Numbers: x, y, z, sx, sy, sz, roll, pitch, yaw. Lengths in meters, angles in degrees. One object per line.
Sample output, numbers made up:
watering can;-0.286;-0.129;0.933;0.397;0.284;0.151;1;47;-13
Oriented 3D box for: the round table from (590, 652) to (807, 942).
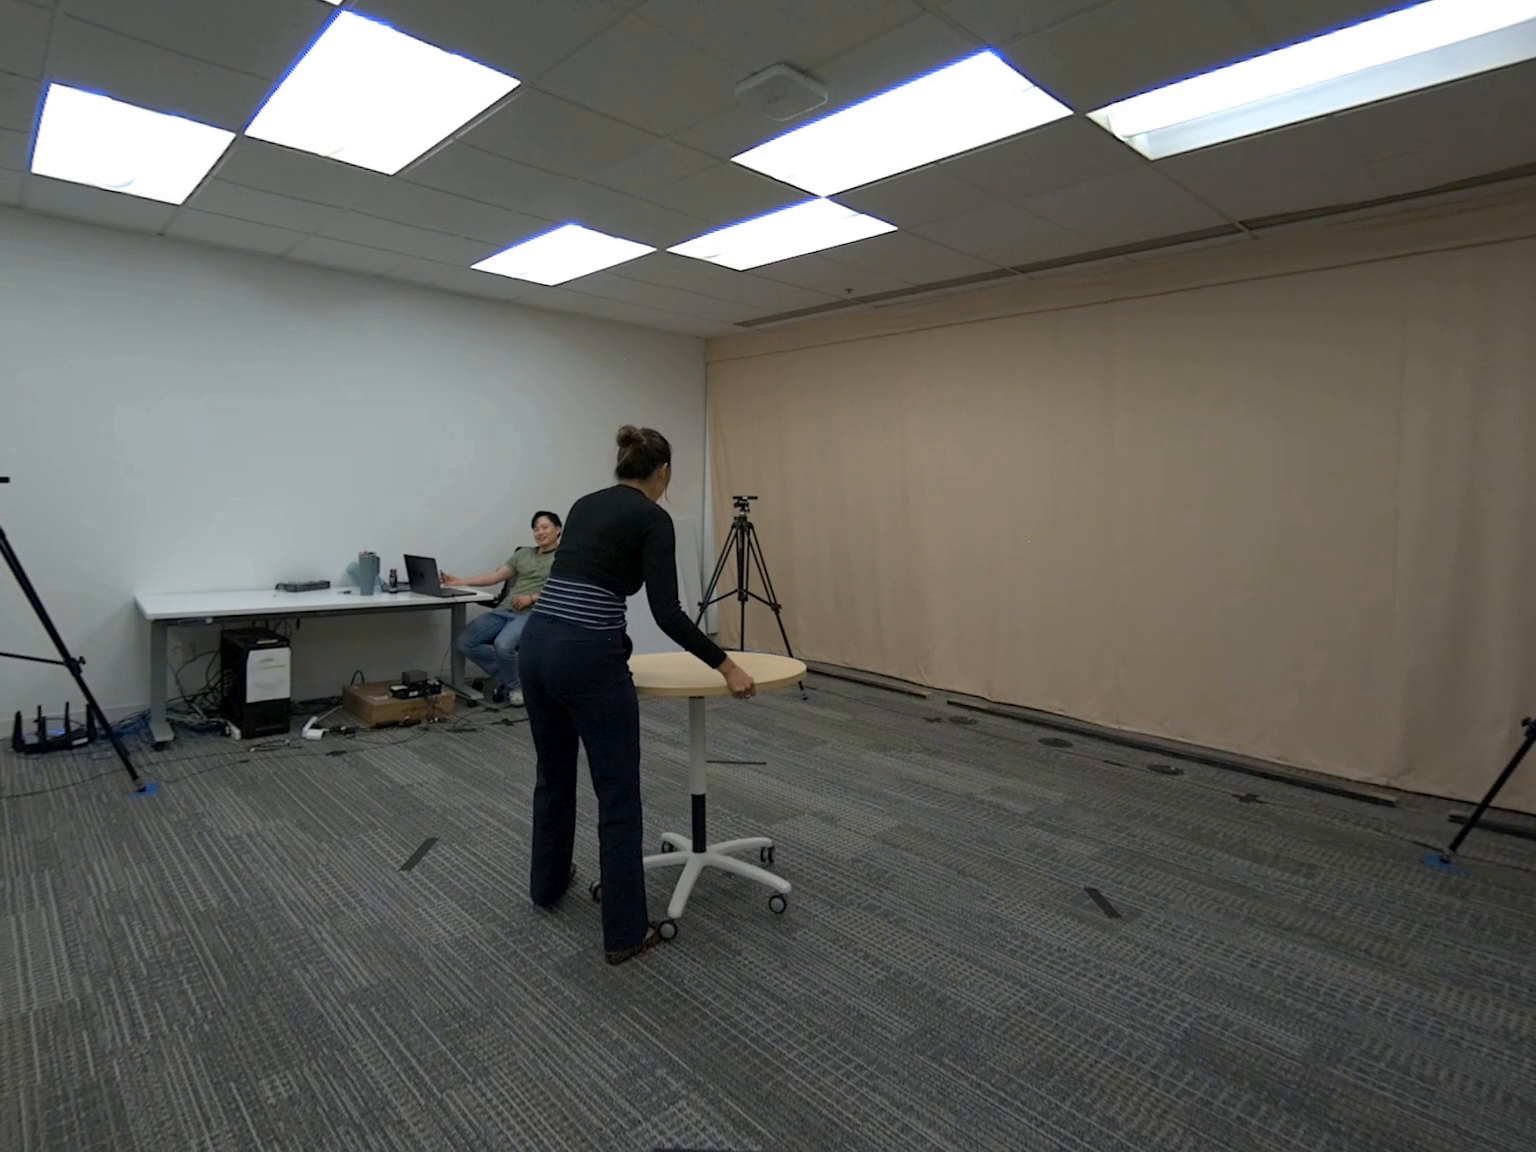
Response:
round table;-0.245;0.715;2.937;0.763;0.793;0.765;-1;2;-1
